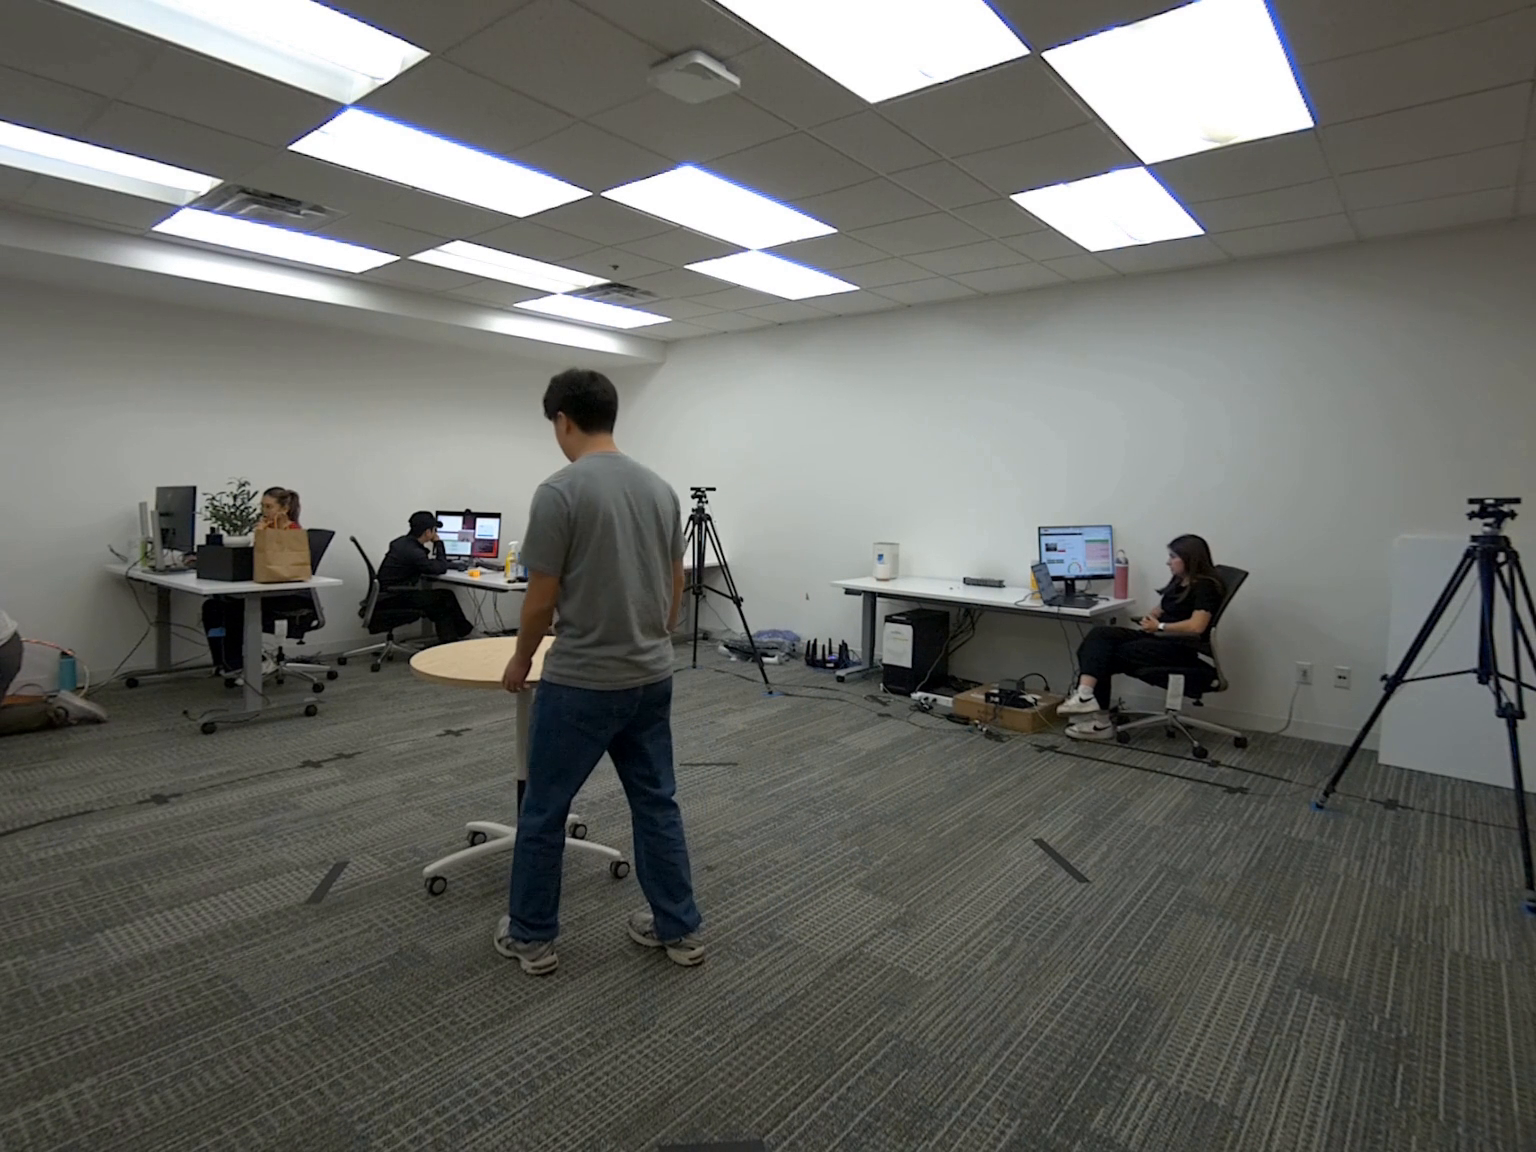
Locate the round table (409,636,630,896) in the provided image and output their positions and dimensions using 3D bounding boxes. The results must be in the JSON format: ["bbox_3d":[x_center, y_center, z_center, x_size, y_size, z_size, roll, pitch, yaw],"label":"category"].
[{"bbox_3d":[-0.878,0.674,3.026,0.763,0.791,0.768,0,4,-2],"label":"round table"}]
